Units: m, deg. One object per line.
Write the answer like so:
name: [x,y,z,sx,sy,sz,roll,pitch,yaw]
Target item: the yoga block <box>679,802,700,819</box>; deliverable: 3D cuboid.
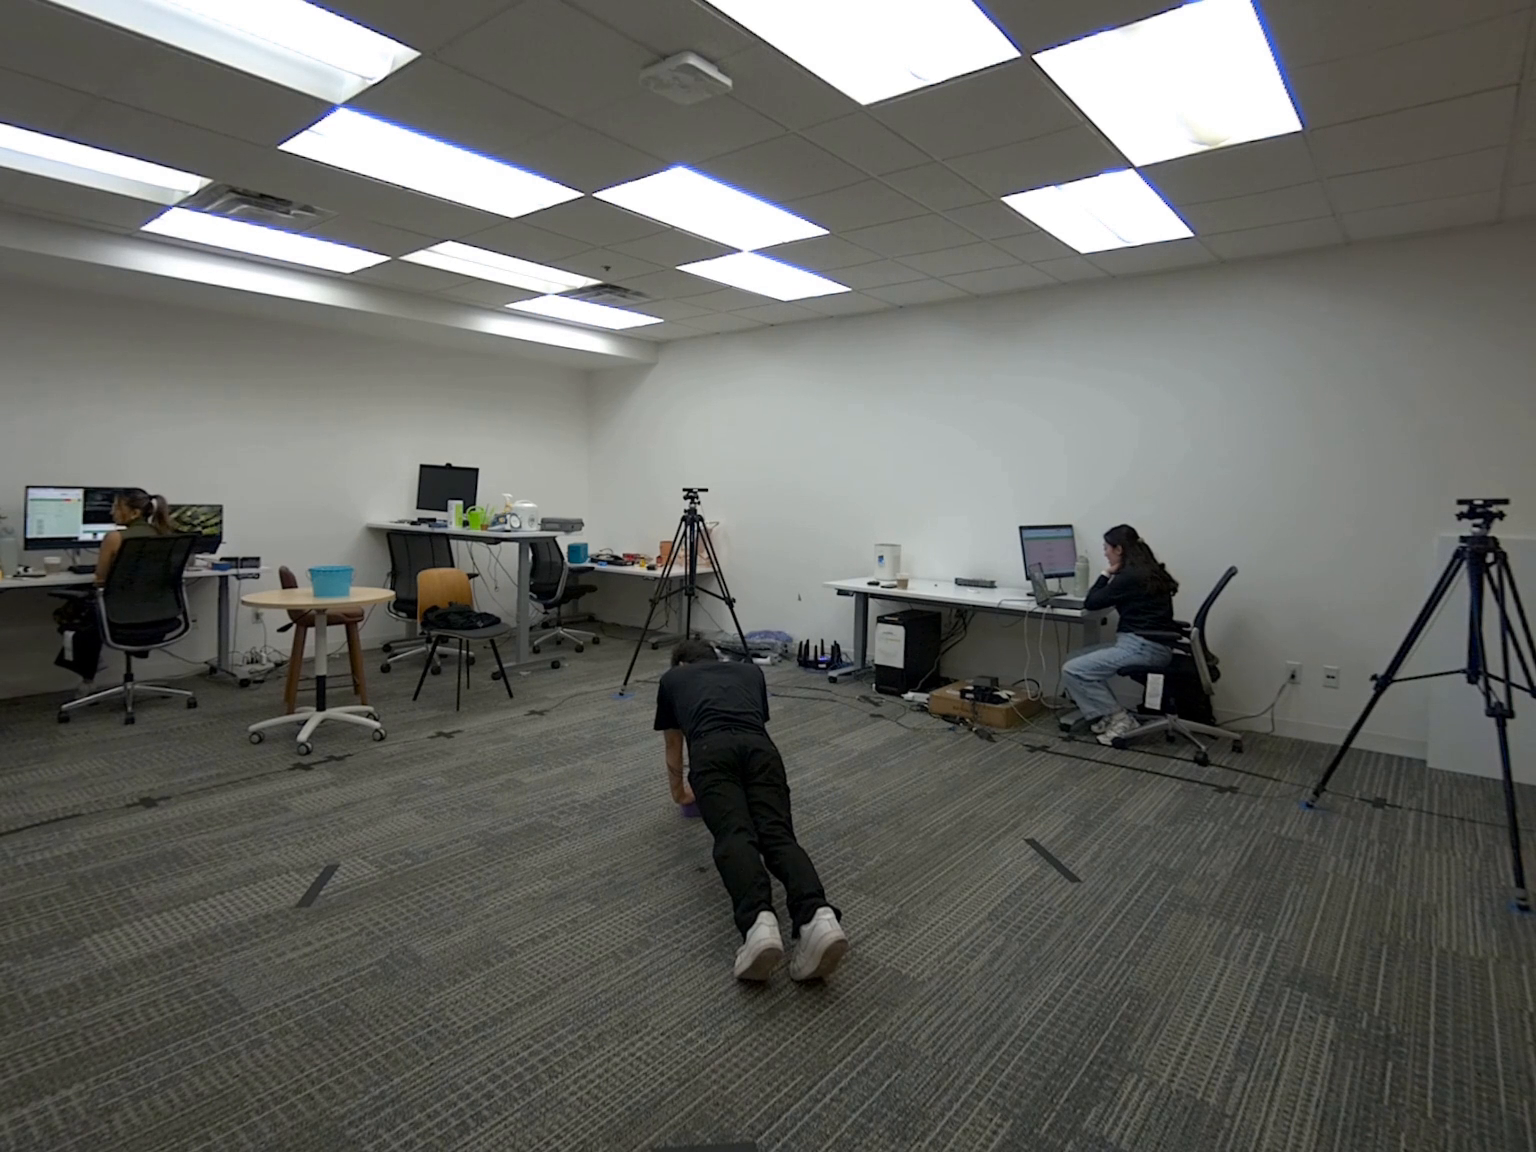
yoga block: [-0.271,0.971,3.687,0.226,0.076,0.152,-1,6,-13]
